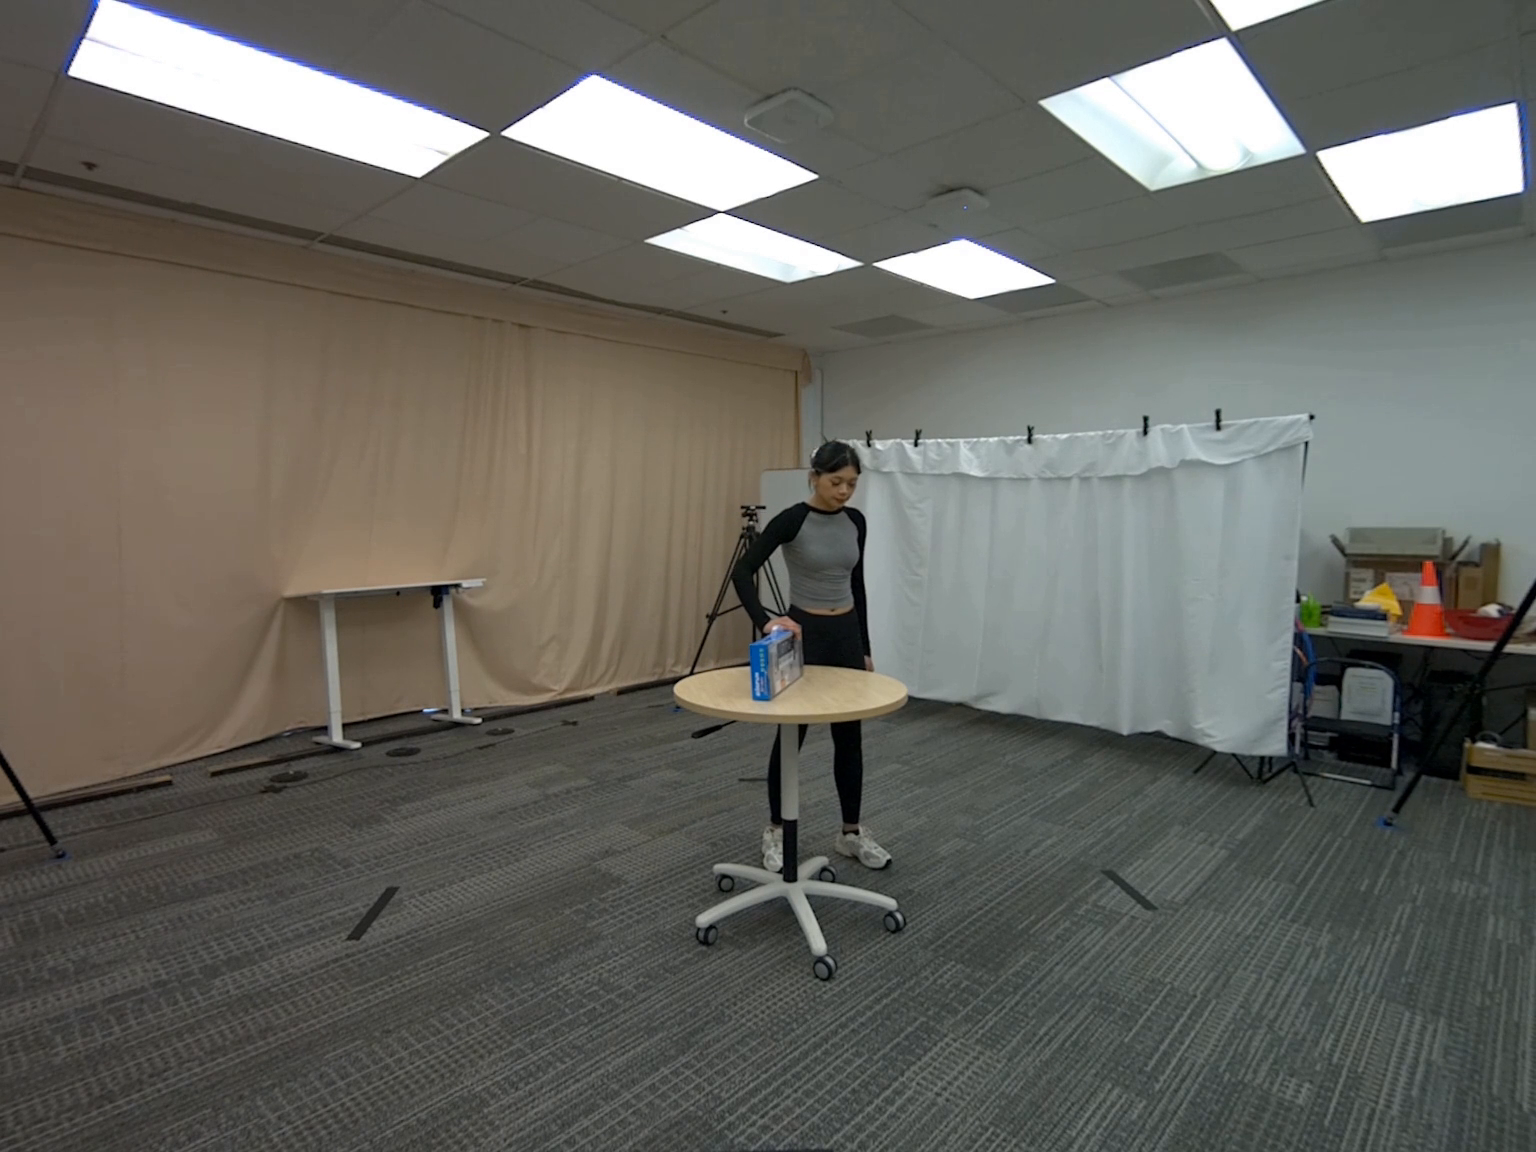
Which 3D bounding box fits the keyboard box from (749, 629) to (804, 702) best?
[{"bbox_3d":[0.038,0.282,2.781,0.060,0.175,0.430,-1,4,15],"label":"keyboard box"}]
